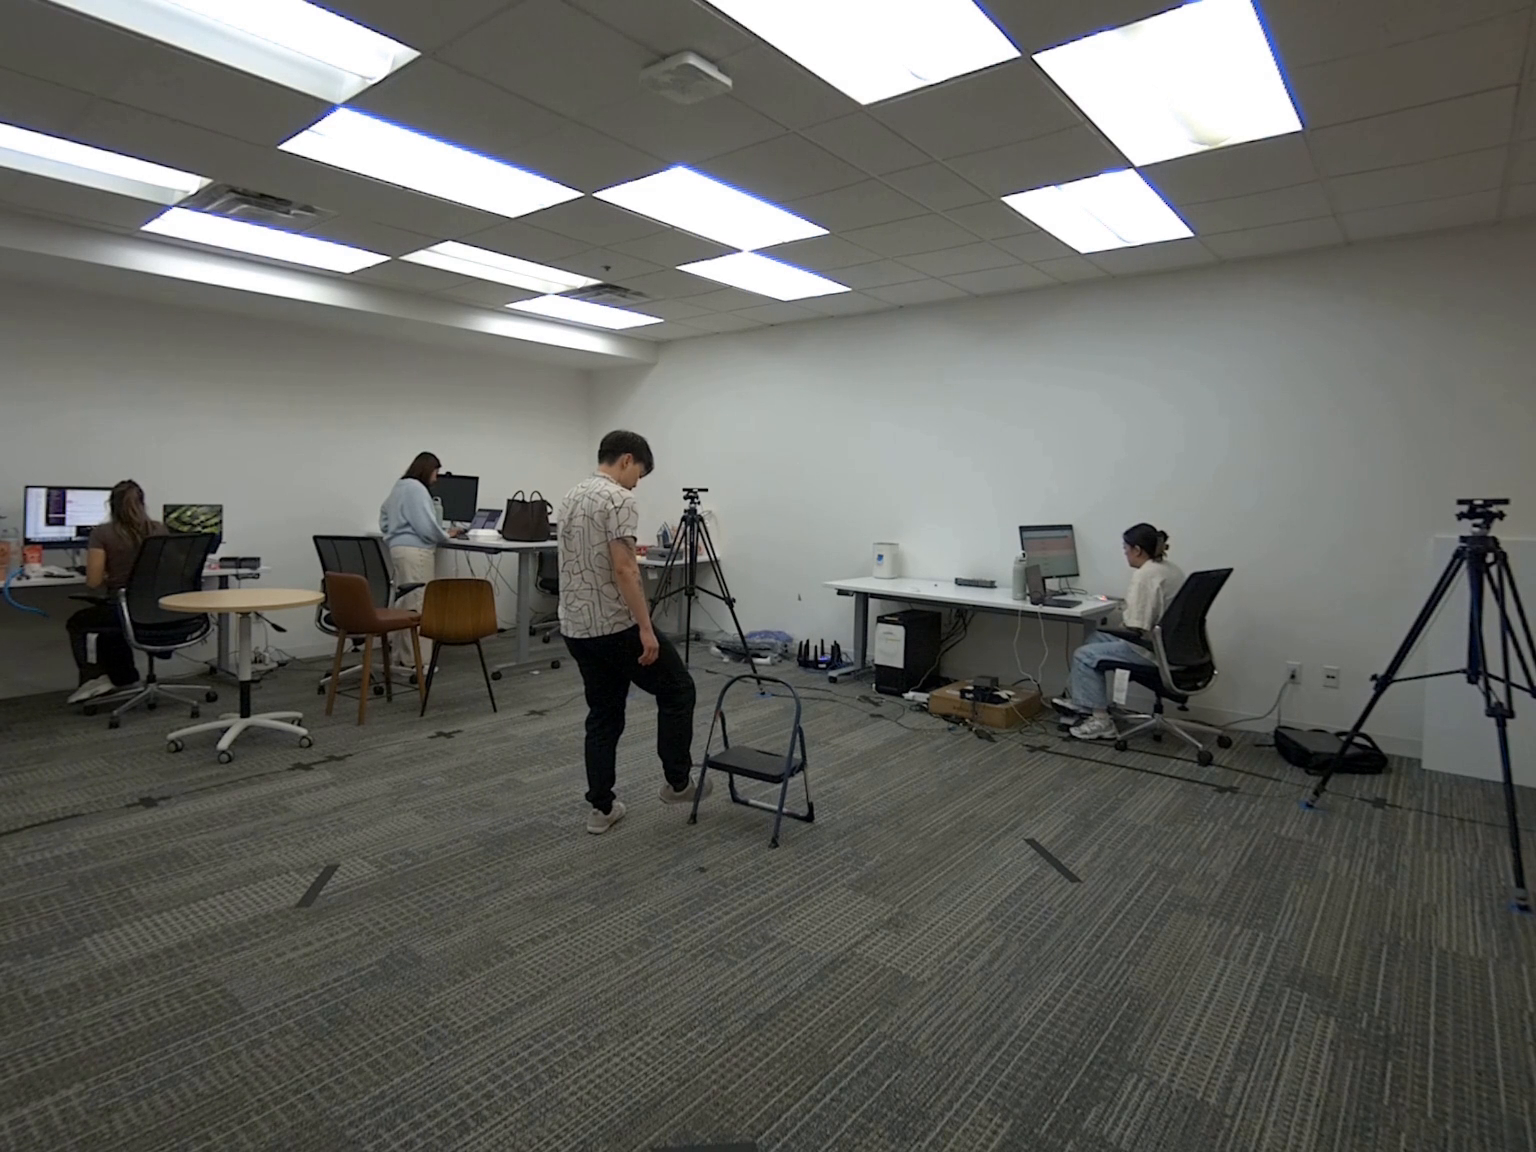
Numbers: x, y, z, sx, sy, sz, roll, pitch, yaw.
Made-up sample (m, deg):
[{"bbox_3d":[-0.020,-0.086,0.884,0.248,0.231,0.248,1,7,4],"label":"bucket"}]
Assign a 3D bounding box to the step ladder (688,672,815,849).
[{"bbox_3d":[-0.067,0.728,3.545,0.444,0.604,0.340,4,4,32],"label":"step ladder"}]
